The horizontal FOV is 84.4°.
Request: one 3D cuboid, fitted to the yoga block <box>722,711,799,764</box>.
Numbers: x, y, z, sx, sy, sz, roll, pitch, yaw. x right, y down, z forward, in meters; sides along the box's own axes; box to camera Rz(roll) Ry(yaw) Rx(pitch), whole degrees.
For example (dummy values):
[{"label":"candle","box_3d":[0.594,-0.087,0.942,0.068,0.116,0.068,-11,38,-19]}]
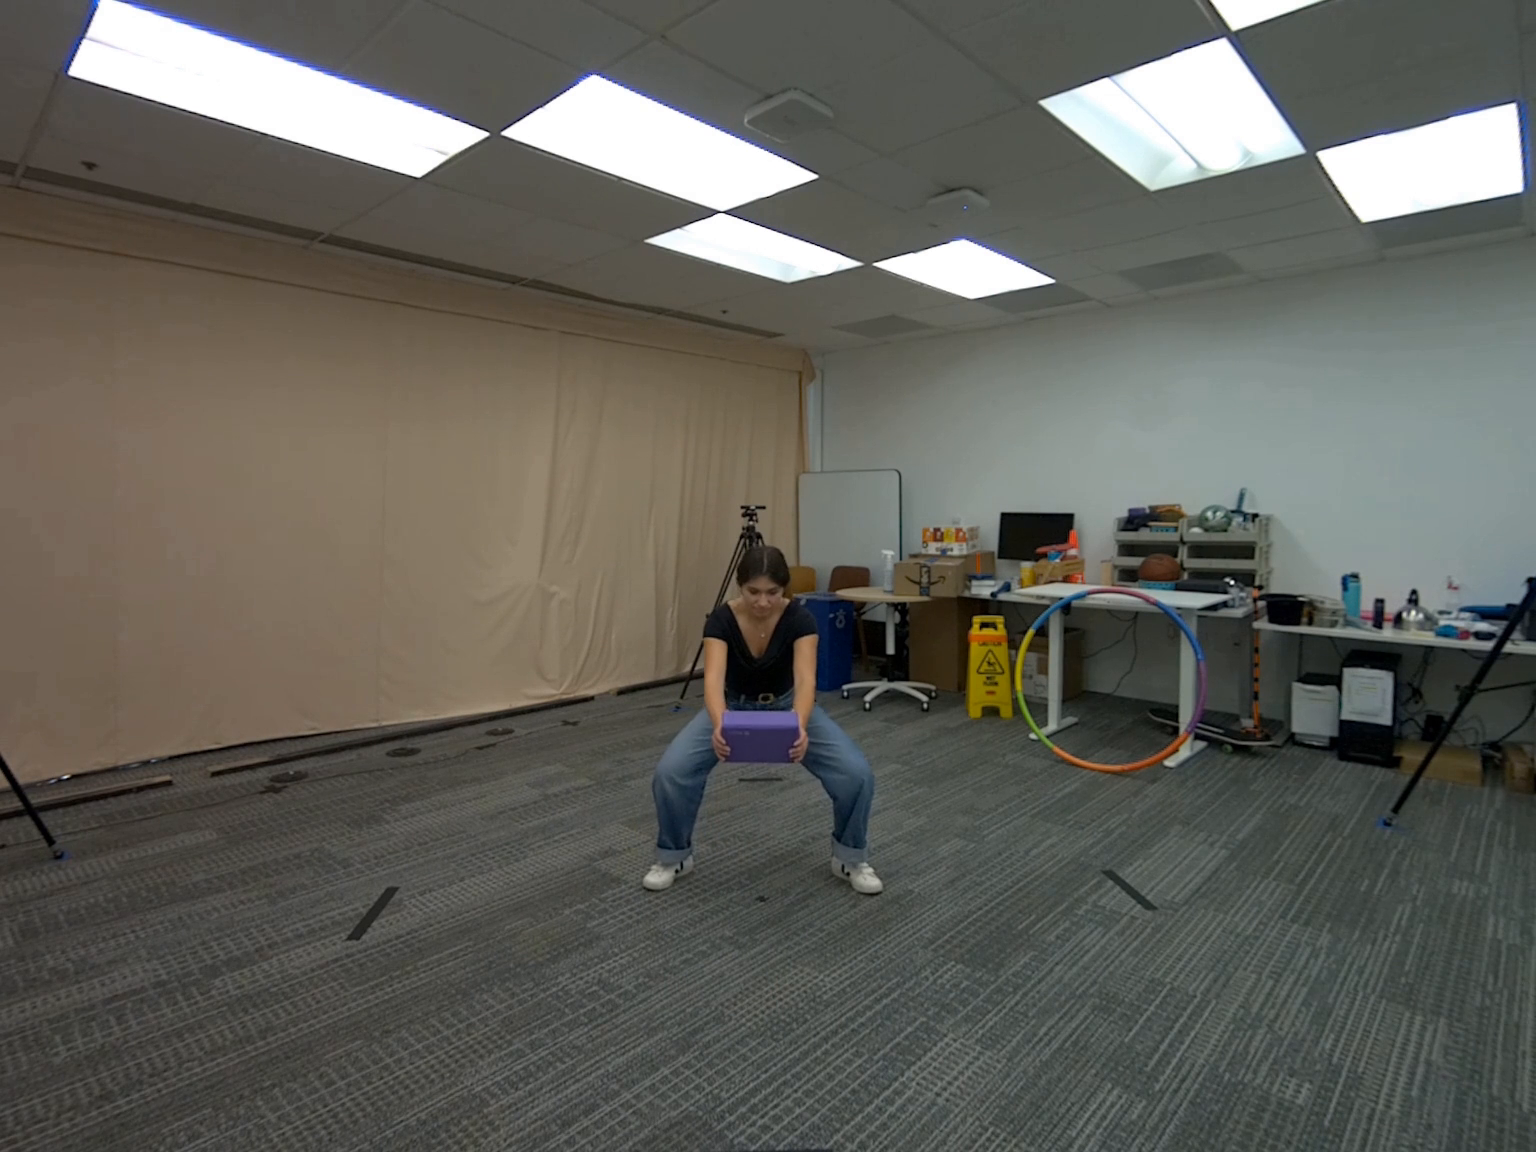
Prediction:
[{"label":"yoga block","box_3d":[-0.018,0.484,2.540,0.229,0.147,0.077,0,27,0]}]
